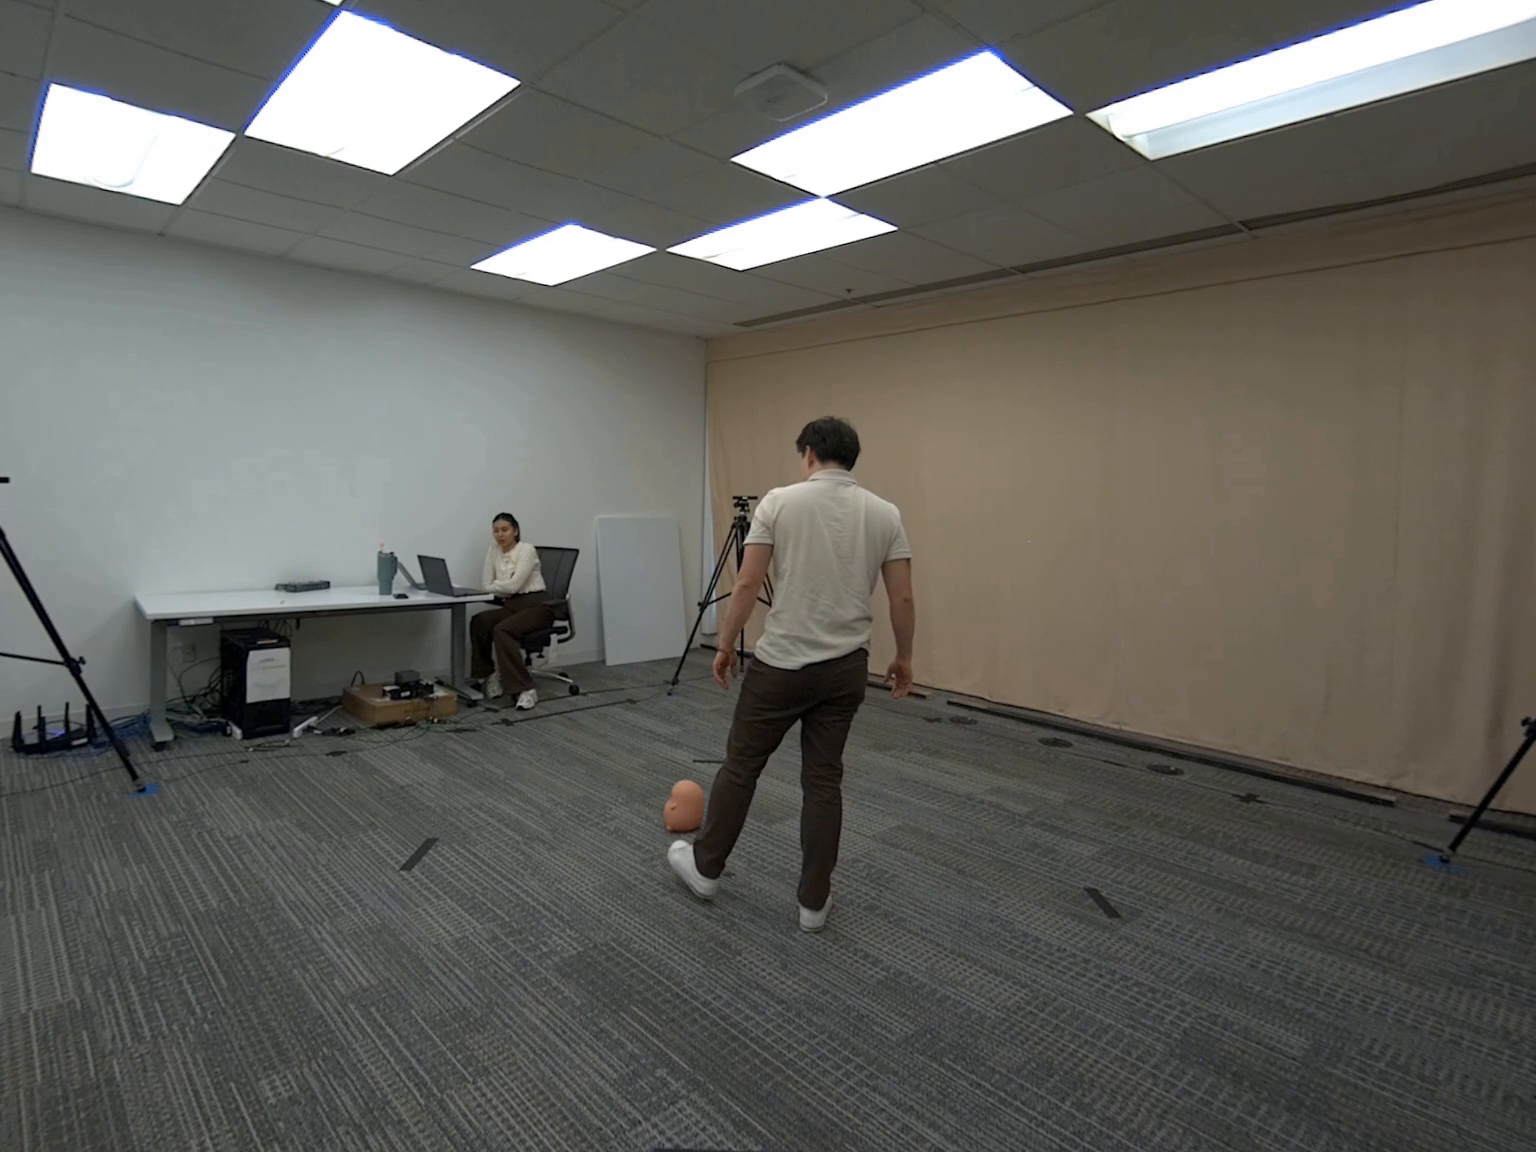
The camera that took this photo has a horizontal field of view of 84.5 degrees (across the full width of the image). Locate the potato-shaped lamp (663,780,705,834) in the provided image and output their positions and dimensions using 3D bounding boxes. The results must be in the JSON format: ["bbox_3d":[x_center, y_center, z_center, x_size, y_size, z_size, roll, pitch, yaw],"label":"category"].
[{"bbox_3d":[-0.364,0.957,3.541,0.171,0.197,0.166,3,4,-6],"label":"potato-shaped lamp"}]
